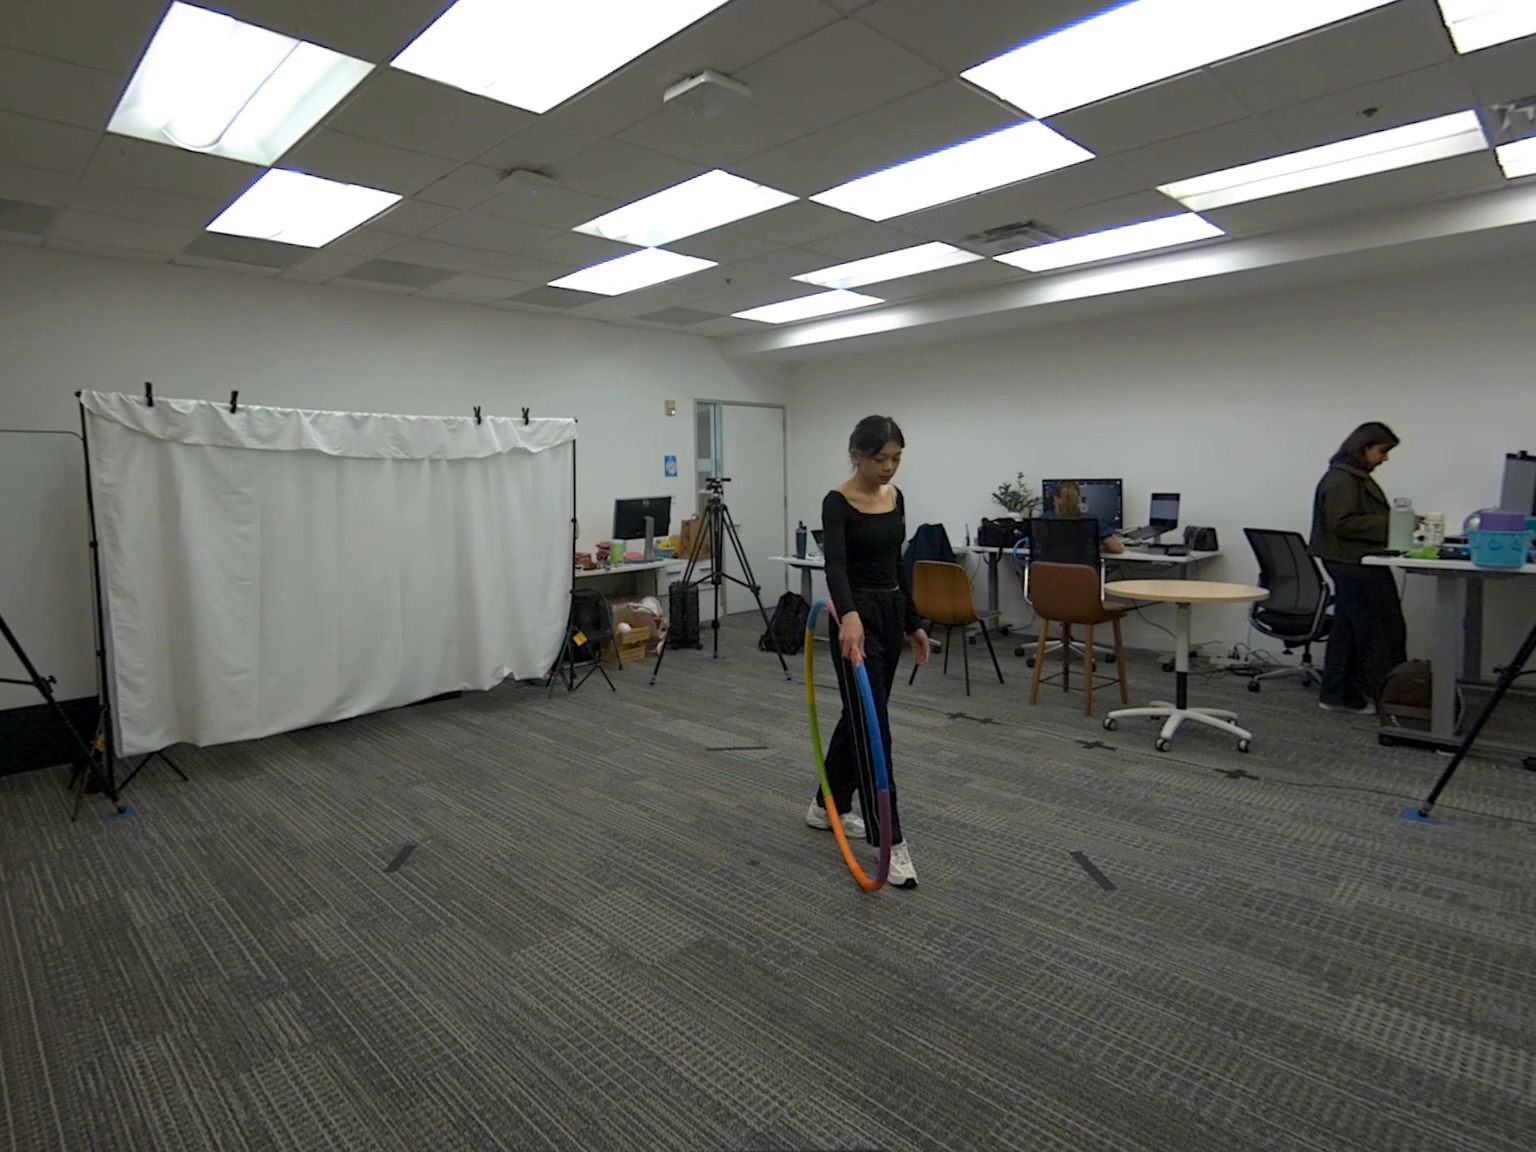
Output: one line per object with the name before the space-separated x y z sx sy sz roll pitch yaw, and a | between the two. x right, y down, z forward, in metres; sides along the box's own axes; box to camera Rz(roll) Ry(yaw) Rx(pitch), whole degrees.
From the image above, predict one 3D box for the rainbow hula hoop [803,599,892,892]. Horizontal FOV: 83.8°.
rainbow hula hoop | 0.253 0.569 2.942 0.035 0.974 0.989 -7 5 -8
